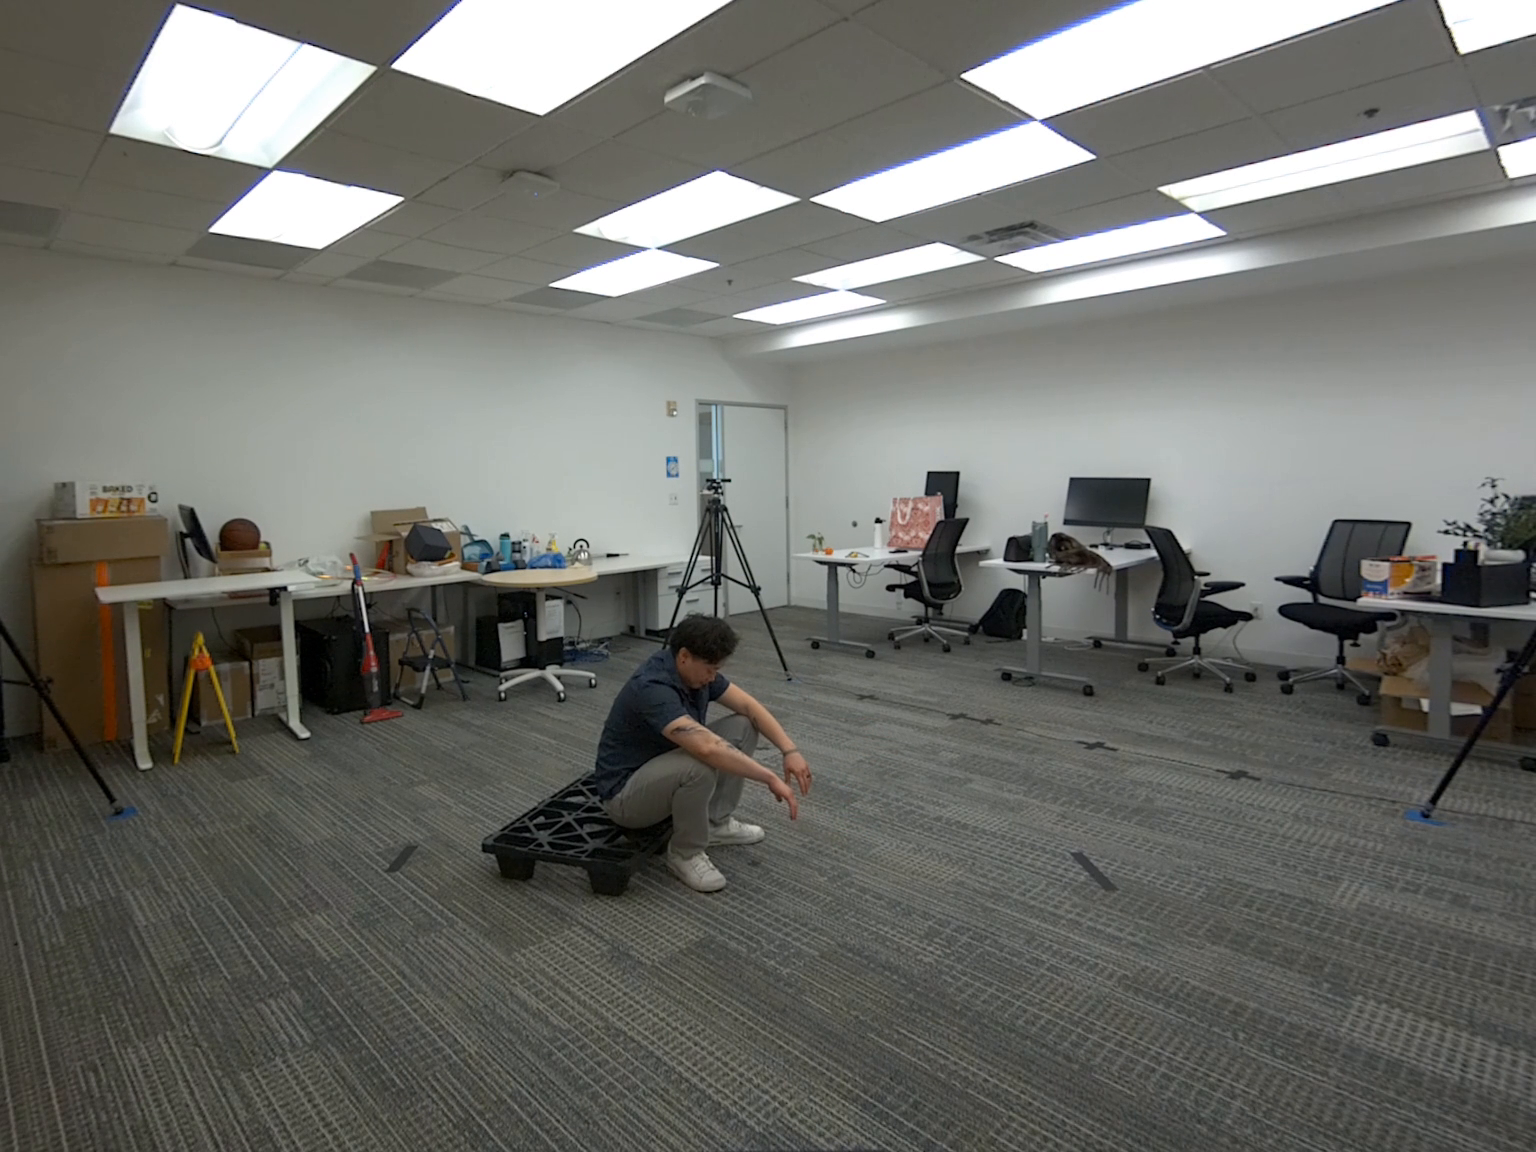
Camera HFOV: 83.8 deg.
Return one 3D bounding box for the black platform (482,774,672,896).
[{"bbox_3d":[-0.608,0.967,3.292,0.616,0.142,0.794,1,7,19],"label":"black platform"}]
